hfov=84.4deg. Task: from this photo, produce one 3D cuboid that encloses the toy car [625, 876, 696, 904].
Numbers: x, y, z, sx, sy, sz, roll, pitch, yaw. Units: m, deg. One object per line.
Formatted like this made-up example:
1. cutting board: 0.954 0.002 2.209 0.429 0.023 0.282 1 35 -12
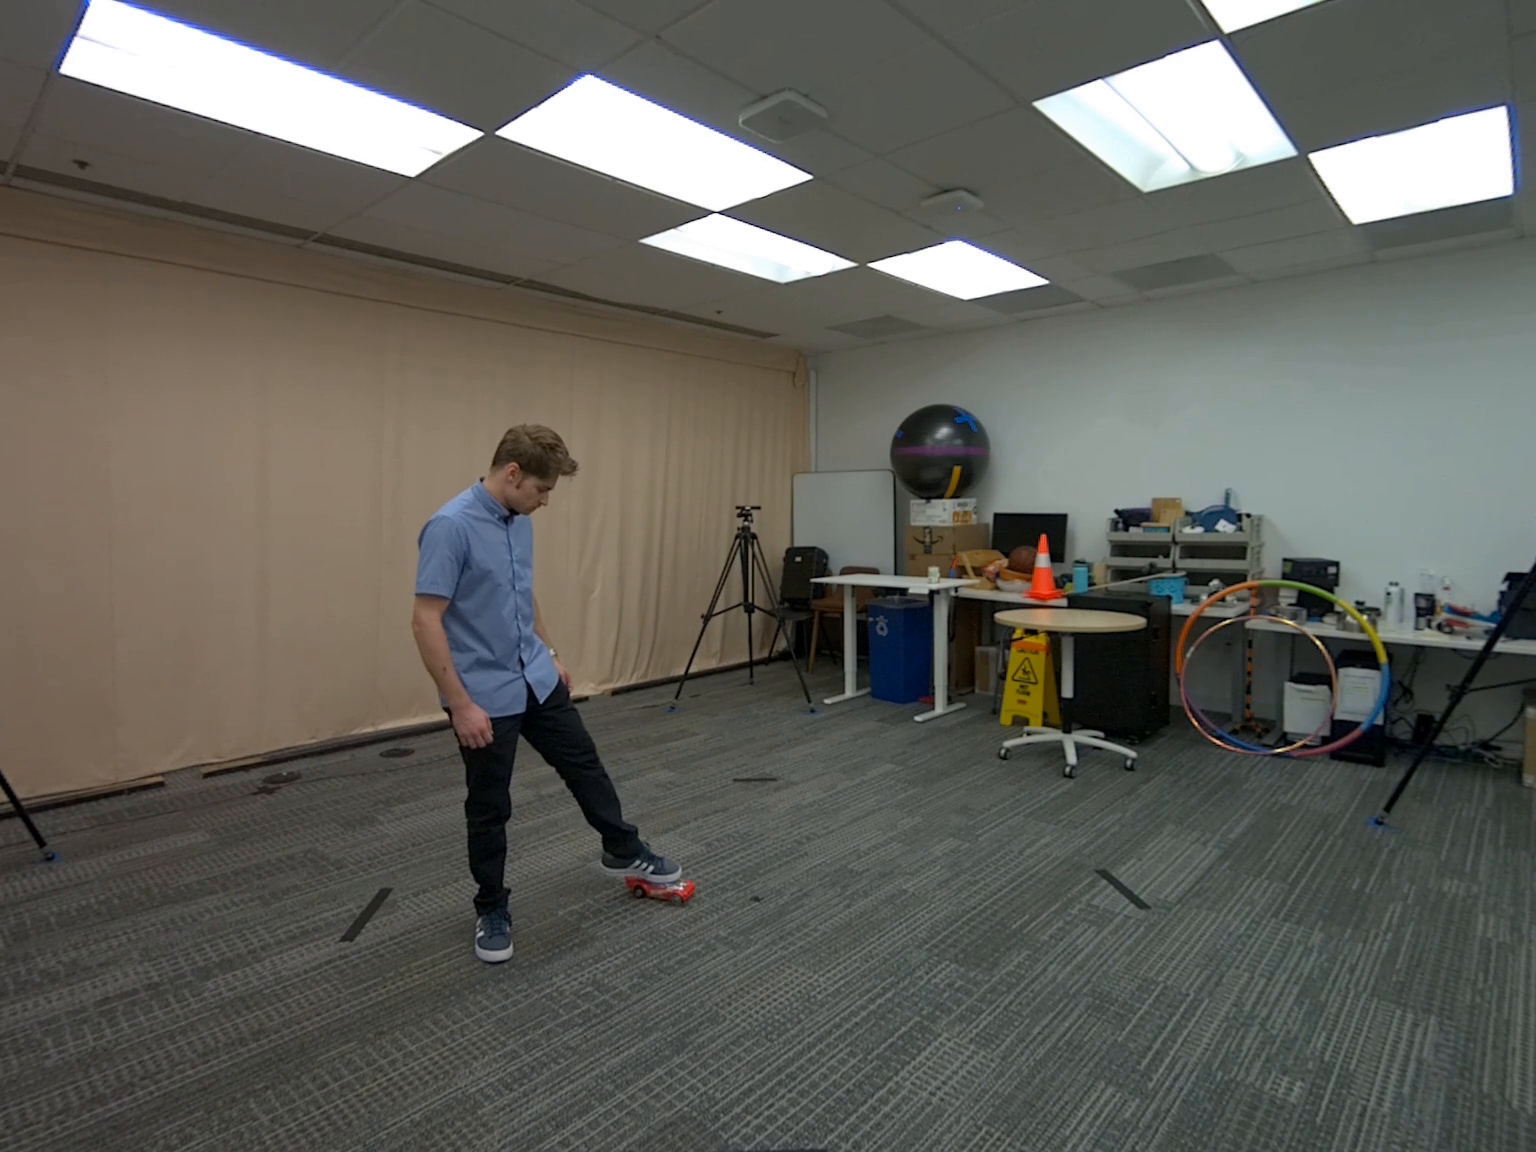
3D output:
1. toy car: -0.398 1.115 3.019 0.261 0.083 0.128 13 11 21
